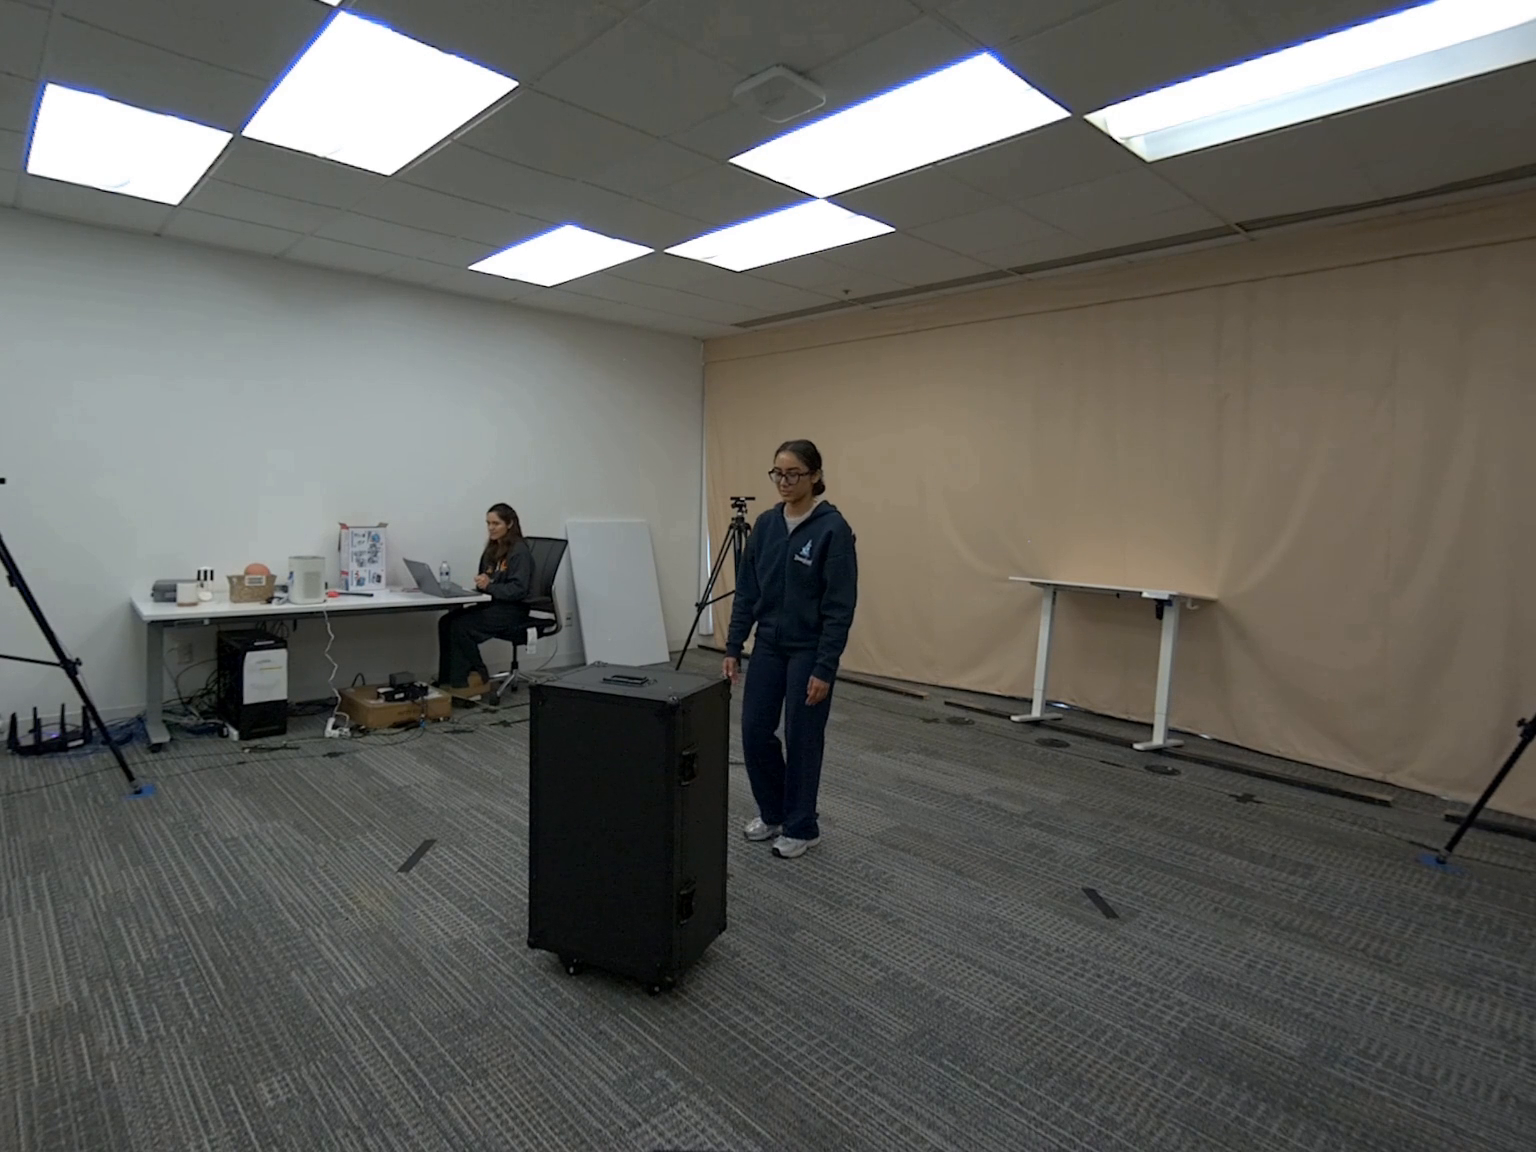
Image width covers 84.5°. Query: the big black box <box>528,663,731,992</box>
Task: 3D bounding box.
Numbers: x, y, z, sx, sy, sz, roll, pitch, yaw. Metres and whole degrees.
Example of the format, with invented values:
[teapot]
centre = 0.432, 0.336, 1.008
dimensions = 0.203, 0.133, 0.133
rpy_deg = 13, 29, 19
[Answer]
[big black box]
centre = -0.412, 0.733, 2.508
dimensions = 0.531, 0.860, 0.390
rpy_deg = 2, 2, 23
